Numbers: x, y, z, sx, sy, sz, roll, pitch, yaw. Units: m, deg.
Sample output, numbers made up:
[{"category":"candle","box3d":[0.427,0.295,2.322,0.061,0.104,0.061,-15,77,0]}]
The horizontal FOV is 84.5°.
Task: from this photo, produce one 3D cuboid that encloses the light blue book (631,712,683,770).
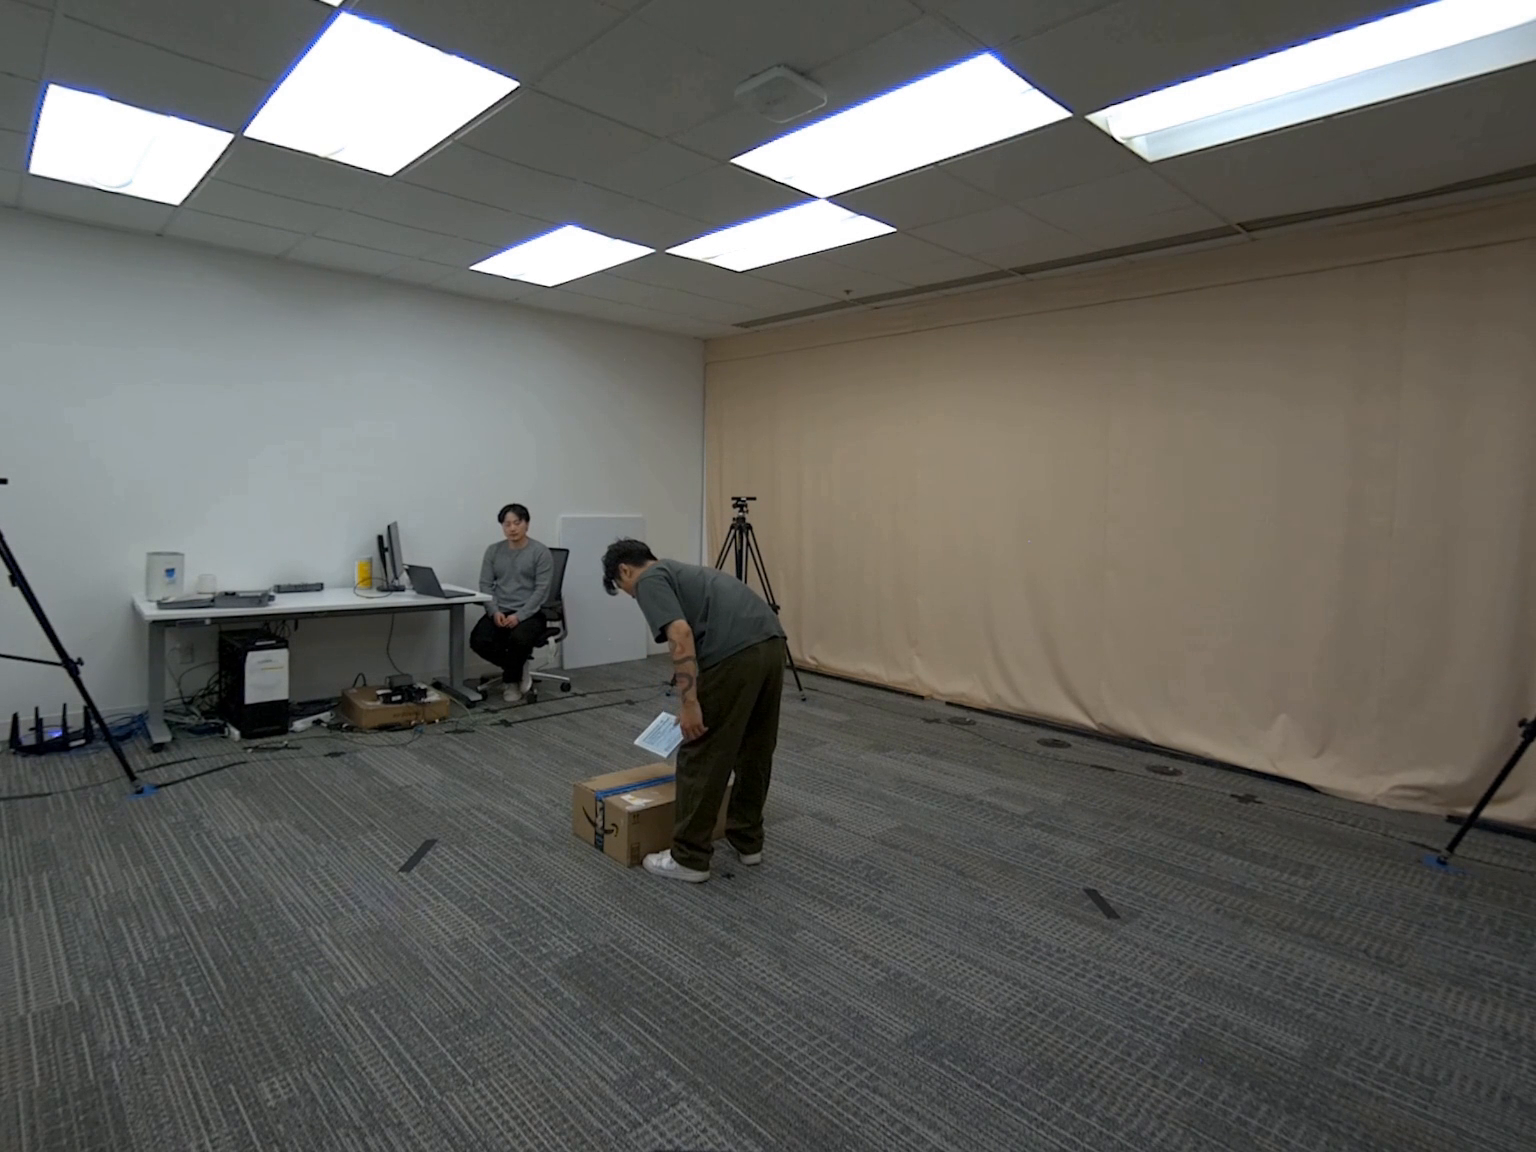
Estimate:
[{"category":"light blue book","box3d":[-0.417,0.673,3.492,0.191,0.058,0.267,-45,28,-26]}]
